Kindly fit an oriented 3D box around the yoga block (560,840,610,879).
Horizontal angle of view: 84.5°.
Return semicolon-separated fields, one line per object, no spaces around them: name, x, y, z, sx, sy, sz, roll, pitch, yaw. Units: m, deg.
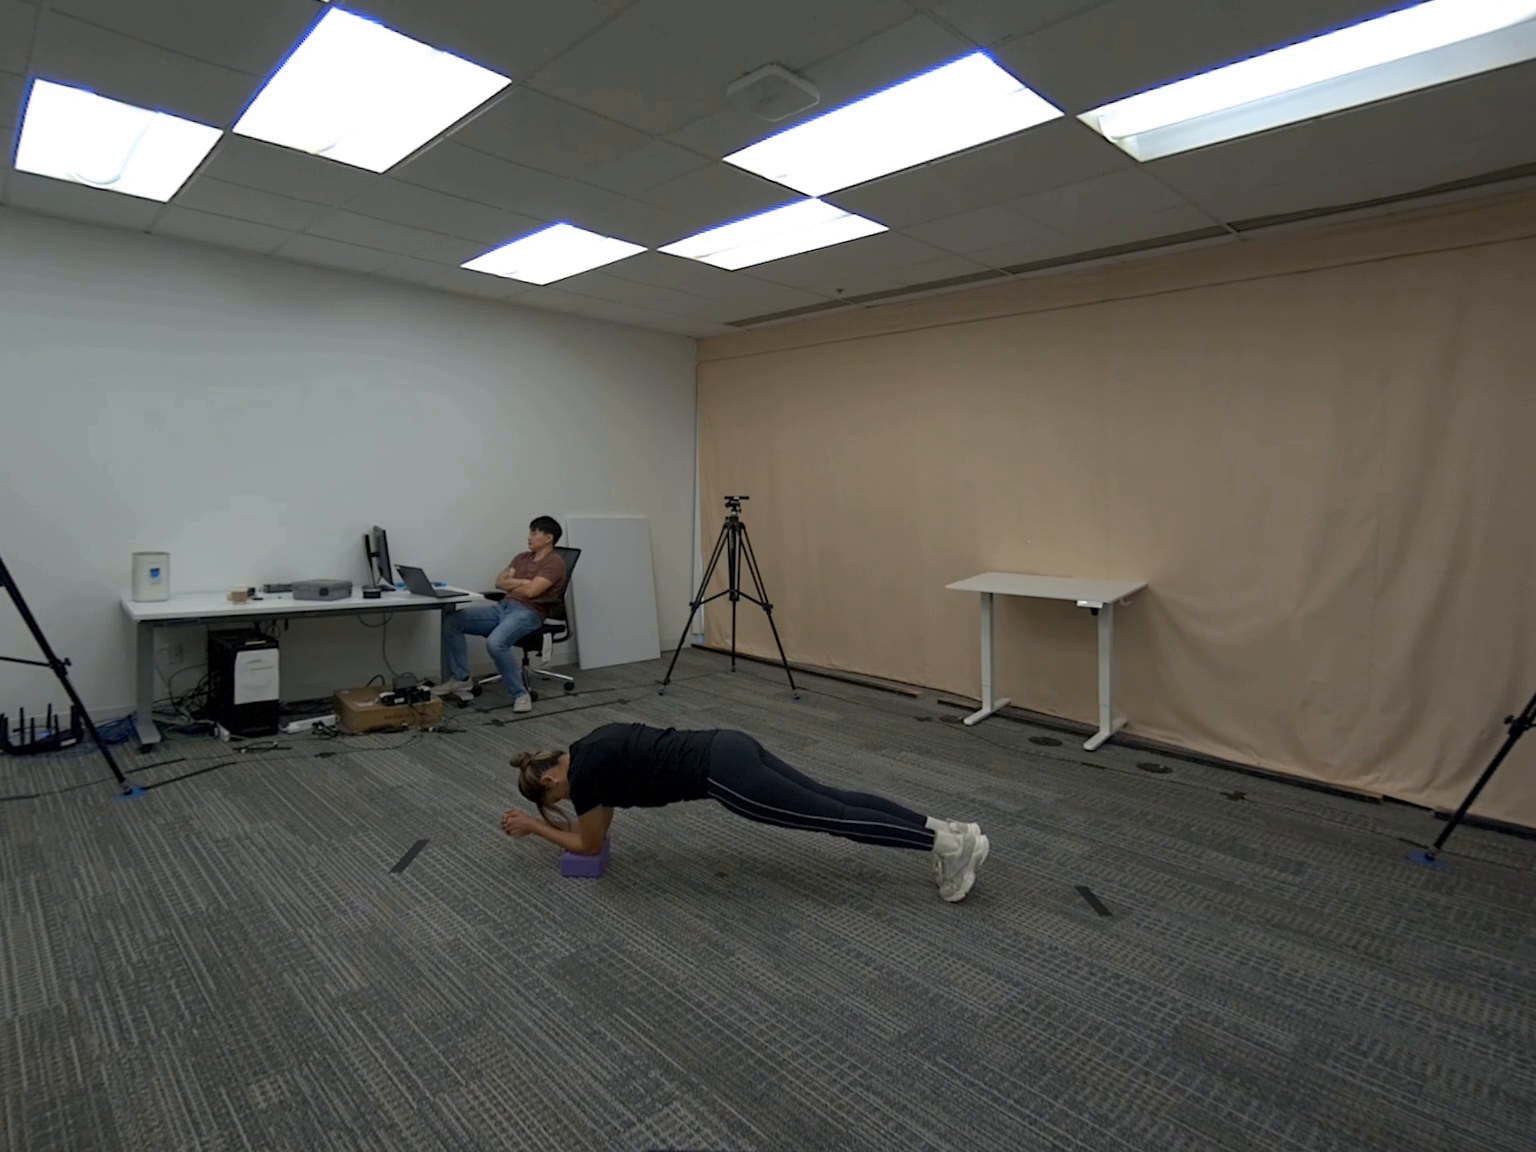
yoga block;-0.686;1.040;3.164;0.149;0.076;0.230;1;5;1
